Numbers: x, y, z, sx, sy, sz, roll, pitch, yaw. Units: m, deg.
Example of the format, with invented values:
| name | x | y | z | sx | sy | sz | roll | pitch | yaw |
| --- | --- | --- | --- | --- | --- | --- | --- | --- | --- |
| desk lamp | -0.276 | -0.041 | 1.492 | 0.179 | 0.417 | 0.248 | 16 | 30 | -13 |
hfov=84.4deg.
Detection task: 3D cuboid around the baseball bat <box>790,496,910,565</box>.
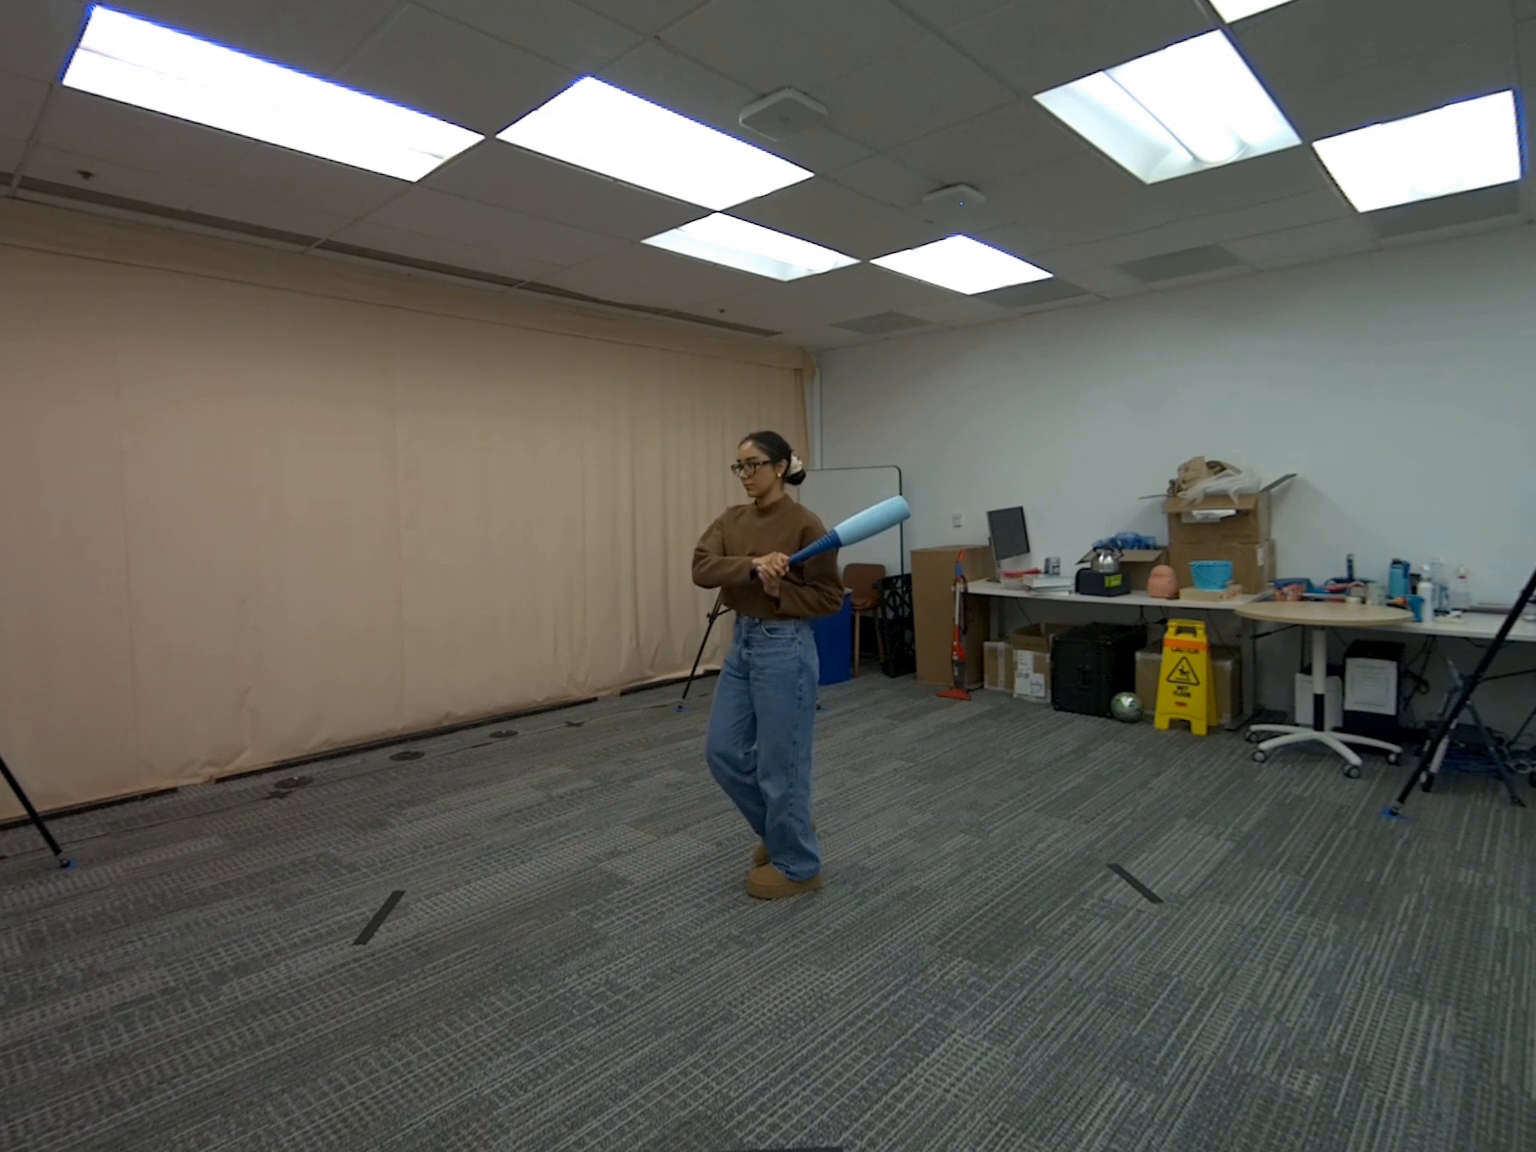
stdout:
| name | x | y | z | sx | sy | sz | roll | pitch | yaw |
| --- | --- | --- | --- | --- | --- | --- | --- | --- | --- |
| baseball bat | 0.219 | -0.109 | 2.772 | 0.544 | 0.089 | 0.089 | -24 | 3 | 4 |
